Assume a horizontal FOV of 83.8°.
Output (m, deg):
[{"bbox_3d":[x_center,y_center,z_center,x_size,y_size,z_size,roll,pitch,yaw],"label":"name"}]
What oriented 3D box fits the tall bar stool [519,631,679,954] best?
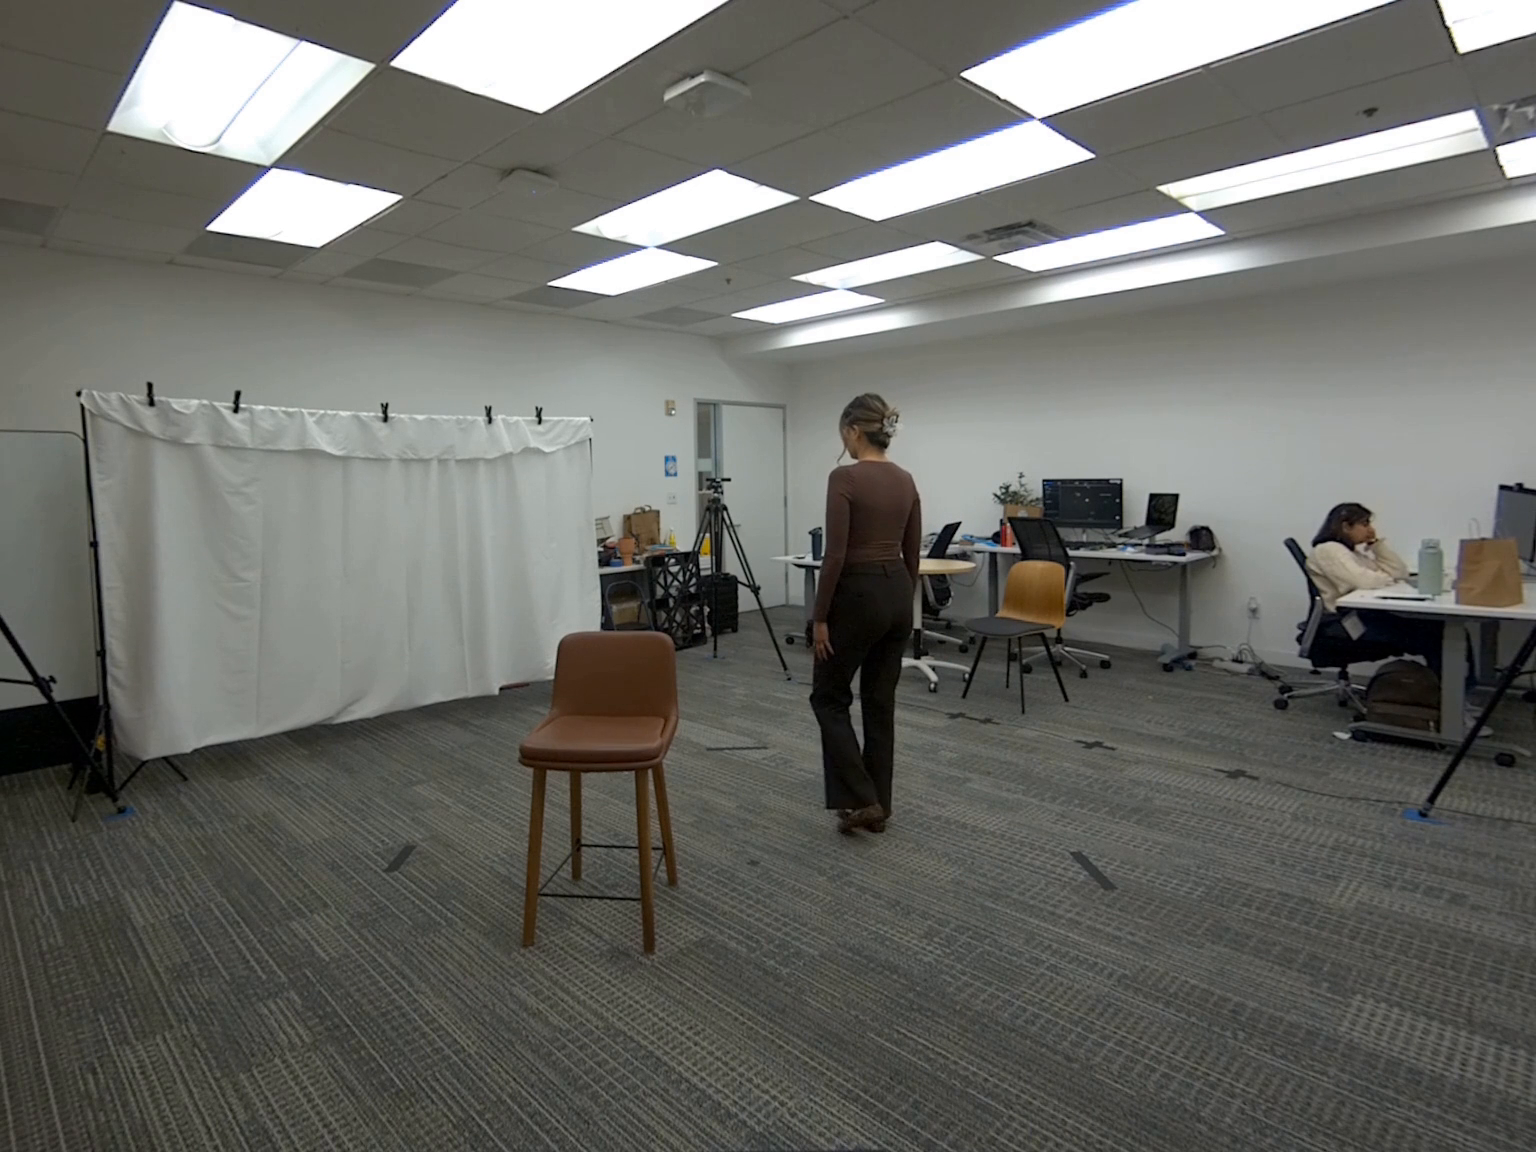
[{"bbox_3d":[-0.526,0.659,2.745,0.460,0.887,0.465,0,3,8],"label":"tall bar stool"}]
